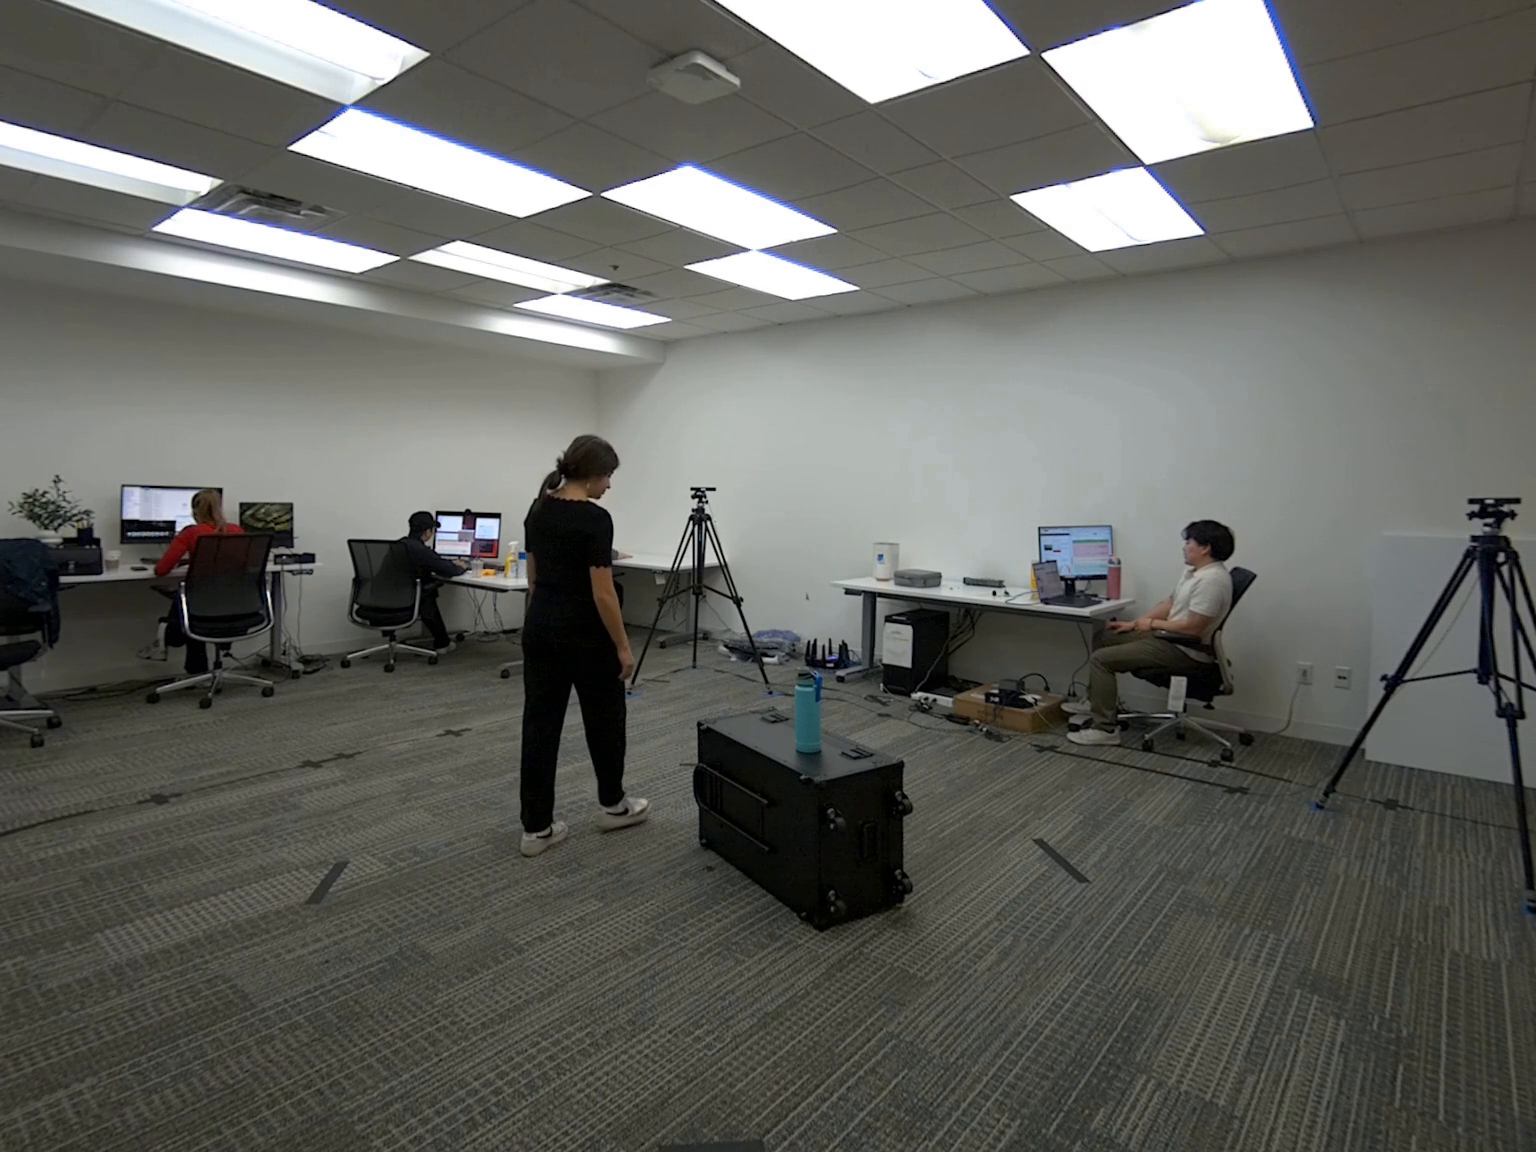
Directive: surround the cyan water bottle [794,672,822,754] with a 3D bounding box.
[{"bbox_3d":[0.135,0.462,2.957,0.092,0.282,0.093,0,4,-2],"label":"cyan water bottle"}]
